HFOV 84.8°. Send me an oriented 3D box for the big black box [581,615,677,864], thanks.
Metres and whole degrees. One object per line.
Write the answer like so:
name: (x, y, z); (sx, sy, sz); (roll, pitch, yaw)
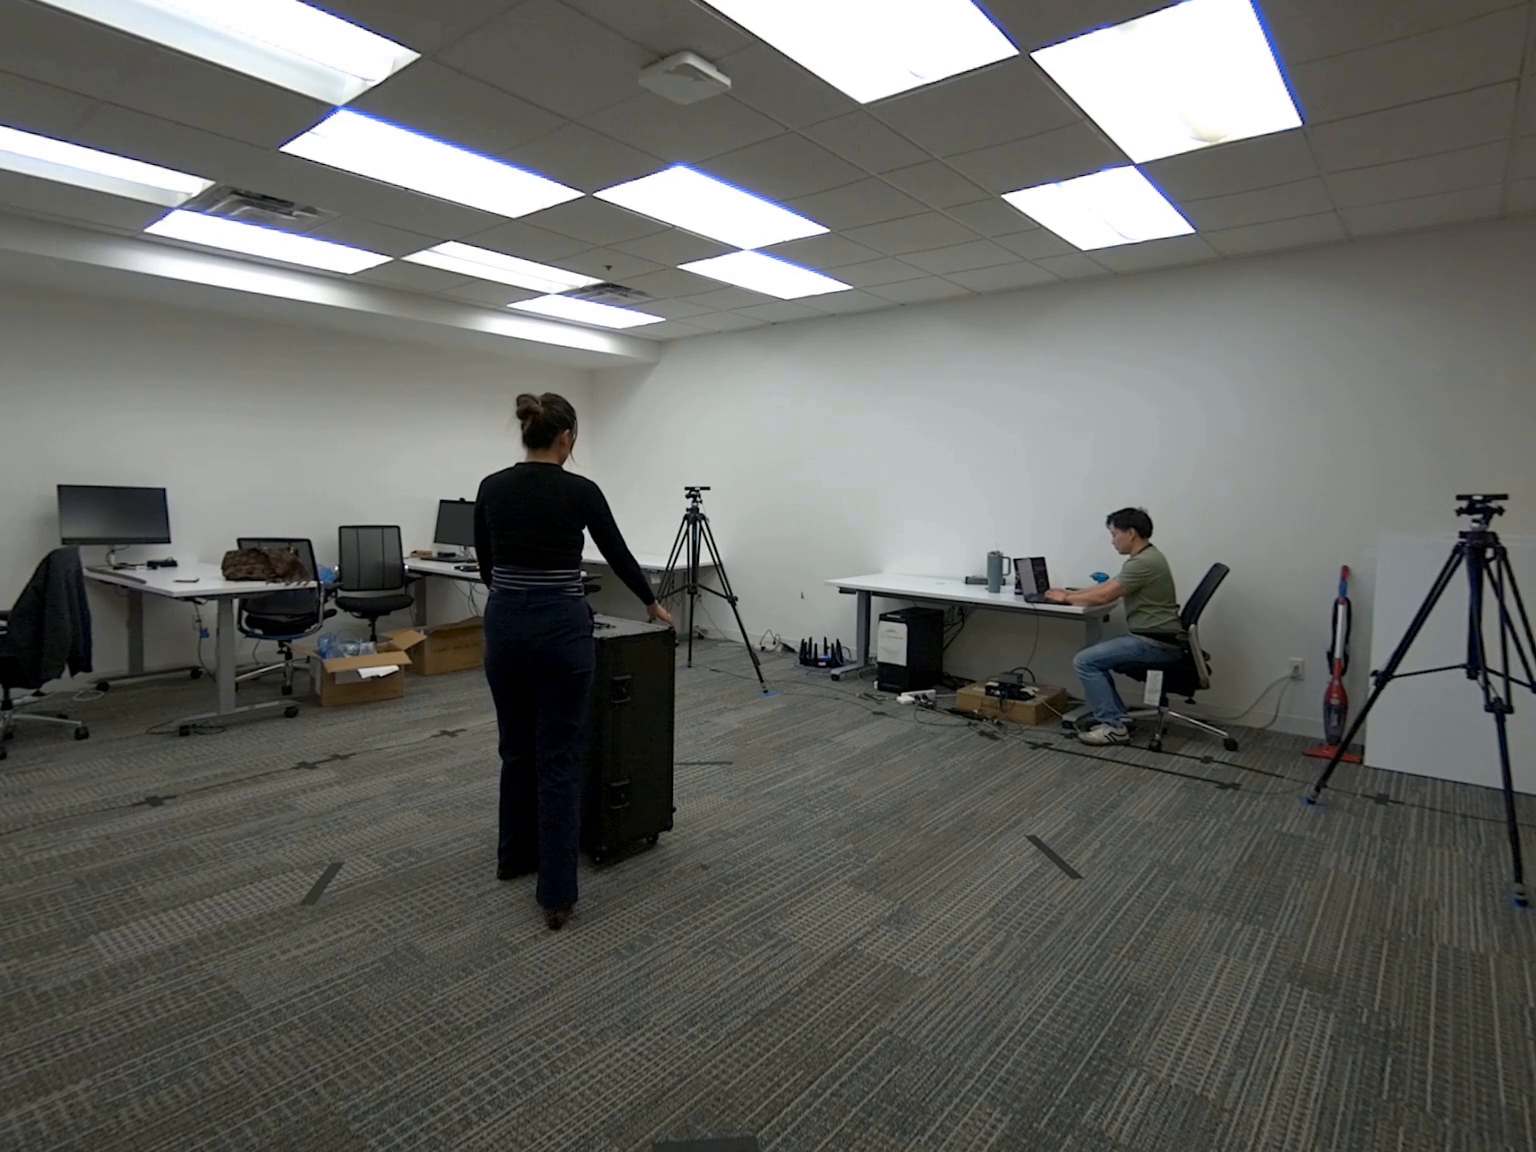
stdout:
big black box: (-0.662, 0.615, 3.321); (0.539, 0.859, 0.384); (4, 4, 44)
